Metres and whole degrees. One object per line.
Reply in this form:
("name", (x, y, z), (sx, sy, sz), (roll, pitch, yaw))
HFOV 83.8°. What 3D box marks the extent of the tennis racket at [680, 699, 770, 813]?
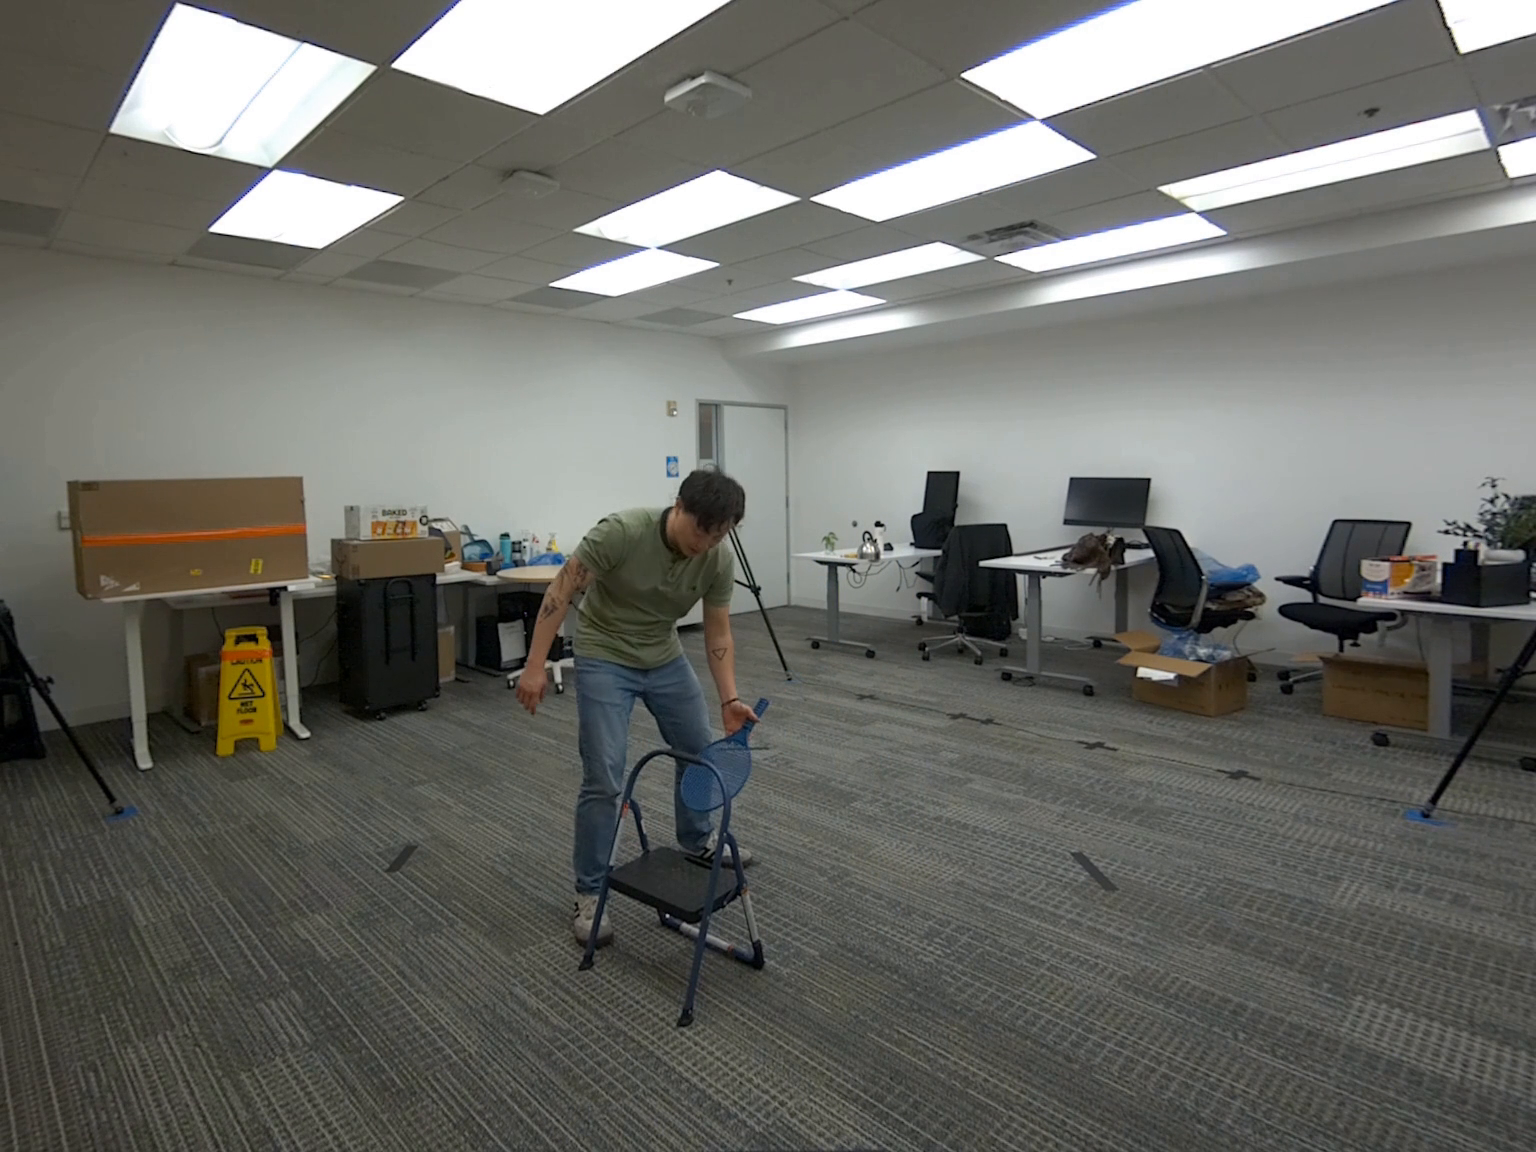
("tennis racket", (-0.113, 0.555, 2.671), (0.221, 0.030, 0.433), (14, 51, 37))
